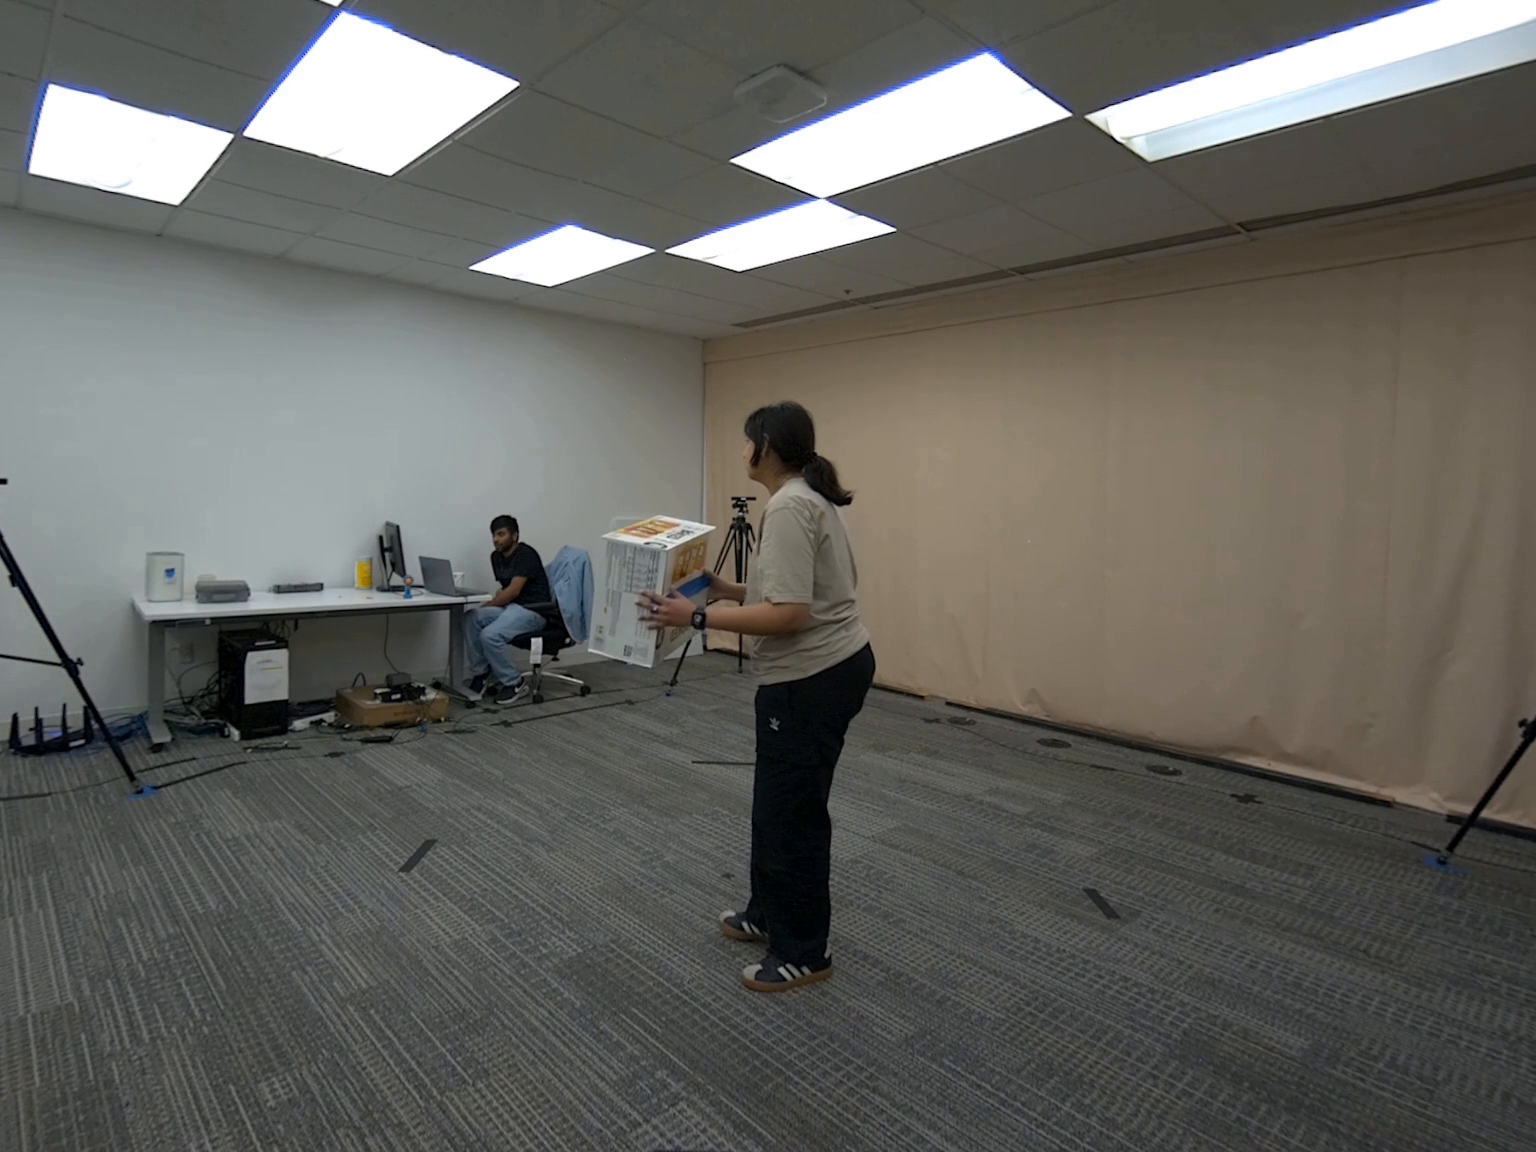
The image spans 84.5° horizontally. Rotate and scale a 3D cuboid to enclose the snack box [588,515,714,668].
[{"bbox_3d":[-0.336,0.028,2.494,0.209,0.337,0.402,11,14,15],"label":"snack box"}]
